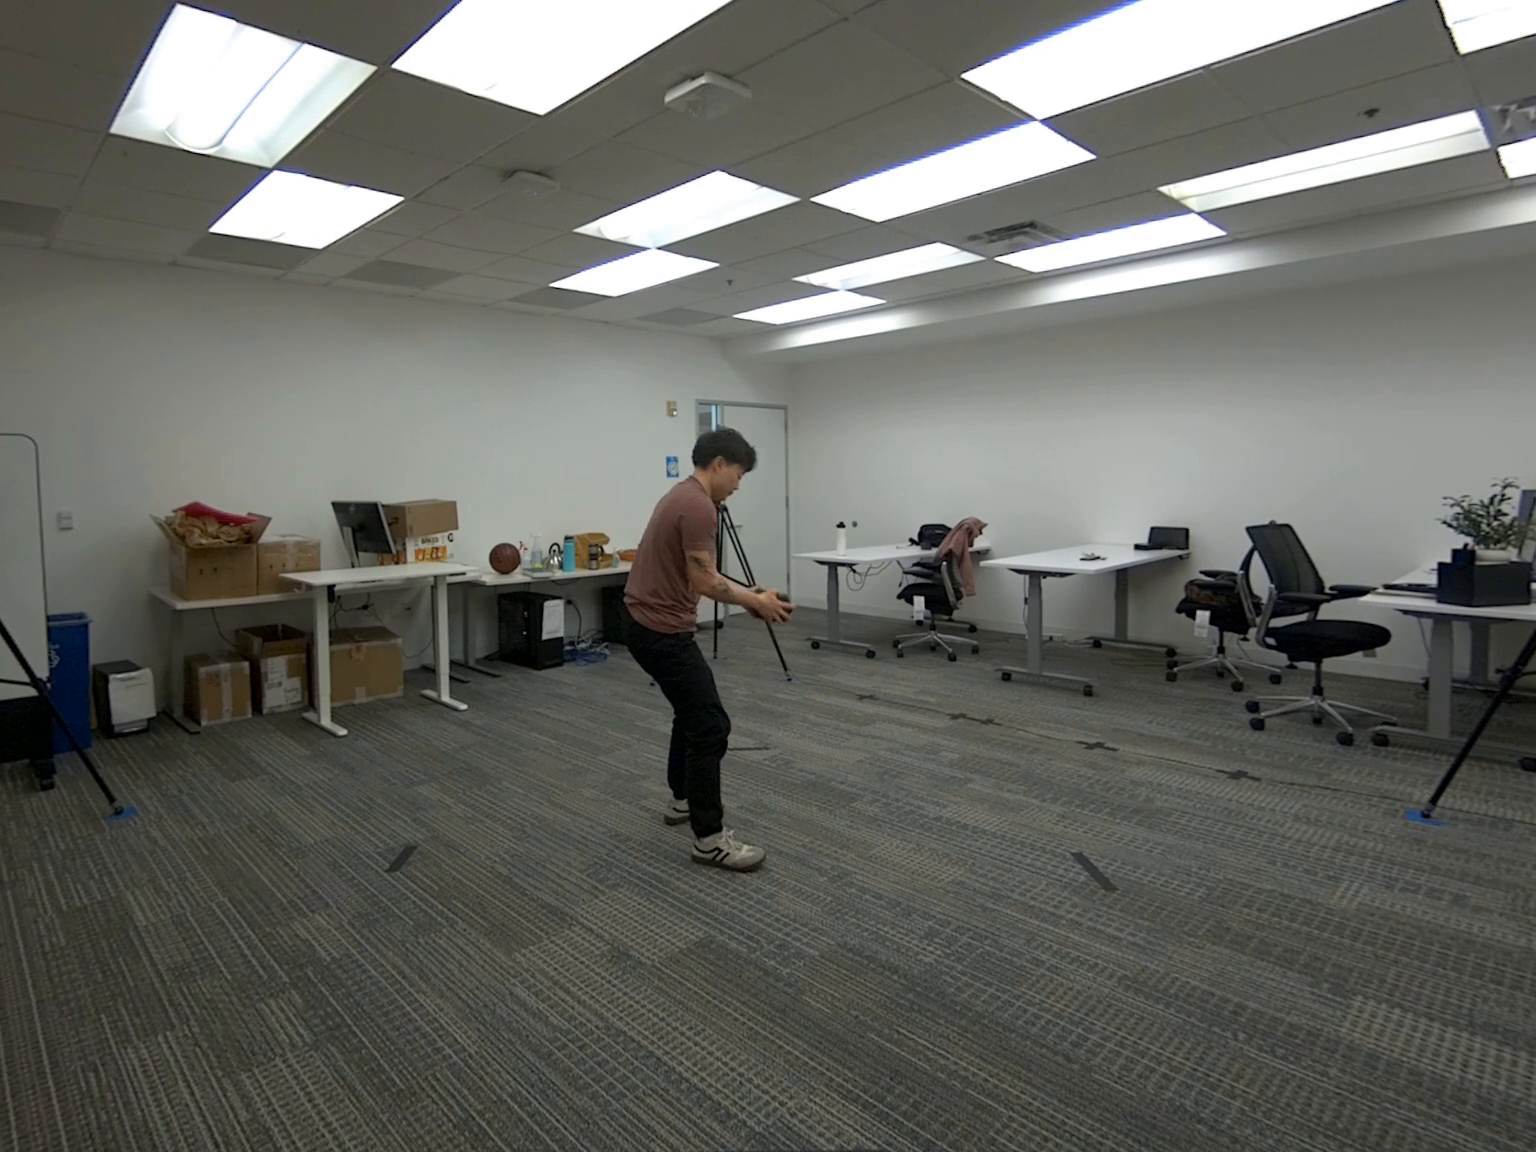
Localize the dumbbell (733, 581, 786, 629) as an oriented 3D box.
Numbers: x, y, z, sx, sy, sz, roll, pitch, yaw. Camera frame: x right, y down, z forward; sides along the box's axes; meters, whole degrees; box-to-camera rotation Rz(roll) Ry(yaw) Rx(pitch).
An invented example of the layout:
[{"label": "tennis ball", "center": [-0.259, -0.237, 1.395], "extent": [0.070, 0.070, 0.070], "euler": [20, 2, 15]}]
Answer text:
[{"label": "dumbbell", "center": [-0.005, 0.119, 3.384], "extent": [0.107, 0.123, 0.297], "euler": [33, -6, -11]}]
